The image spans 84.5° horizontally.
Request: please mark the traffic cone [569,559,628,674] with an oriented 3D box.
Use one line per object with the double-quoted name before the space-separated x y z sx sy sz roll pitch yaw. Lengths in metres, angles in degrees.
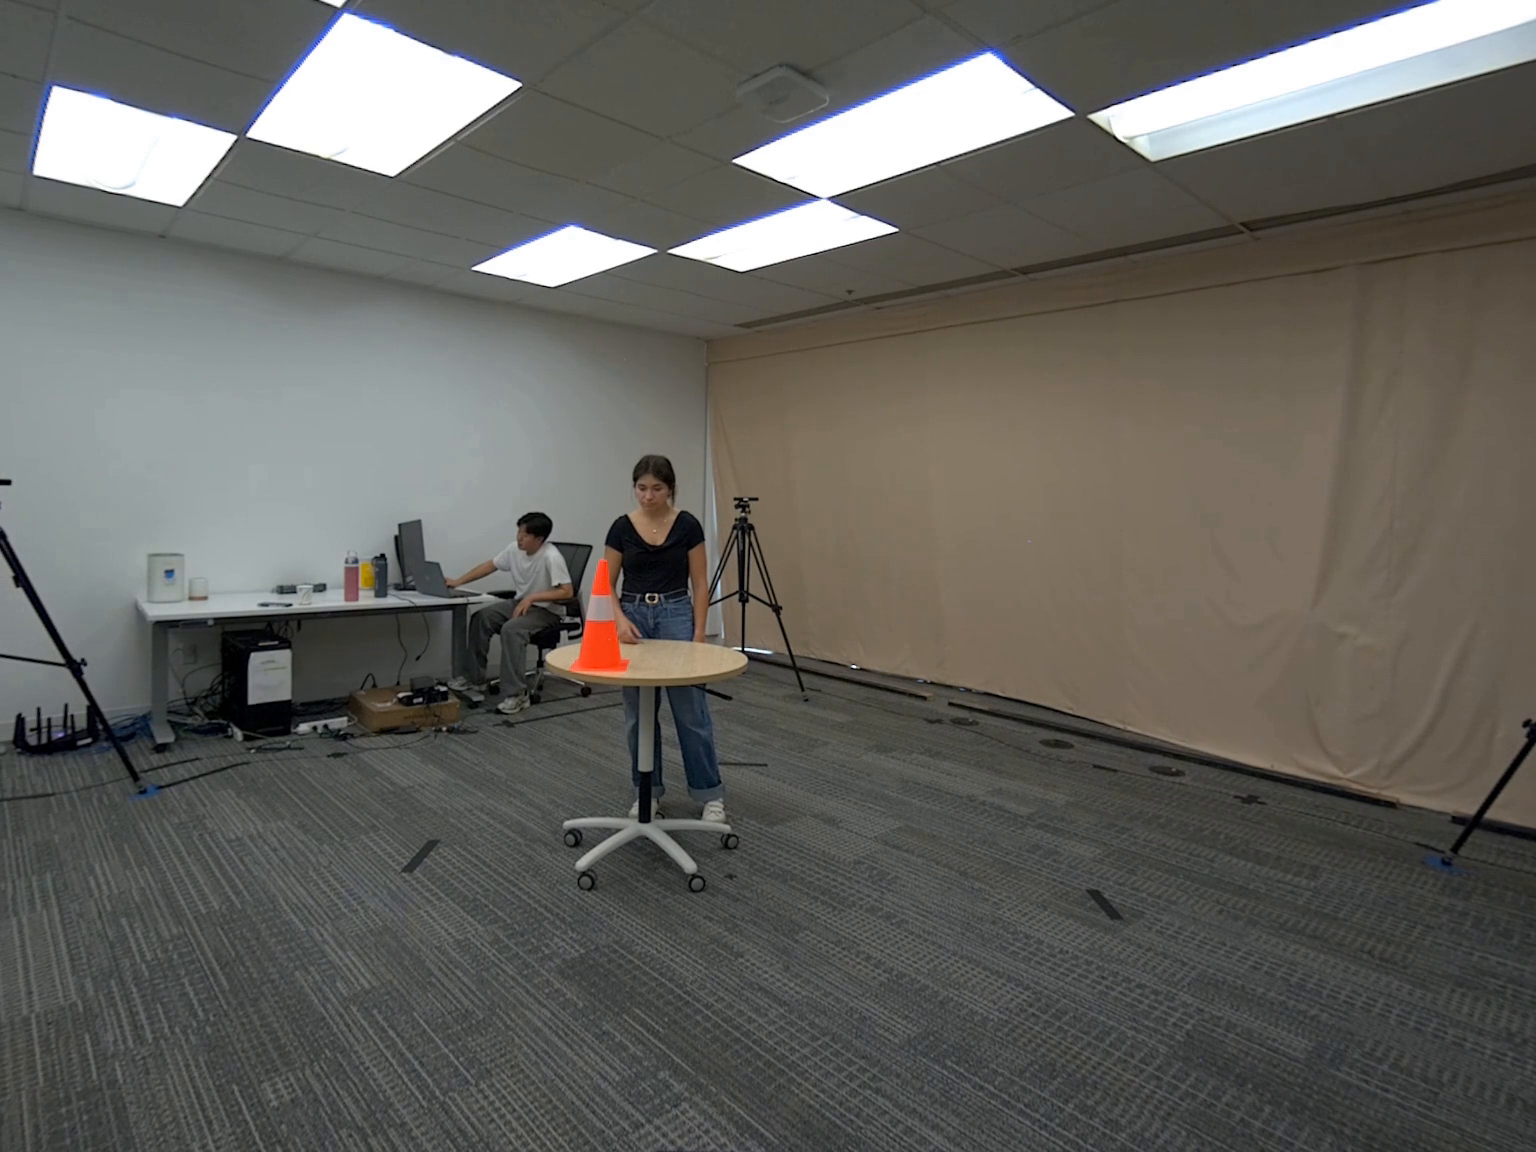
"traffic cone" -0.613 0.139 3.014 0.202 0.383 0.206 1 1 -8
